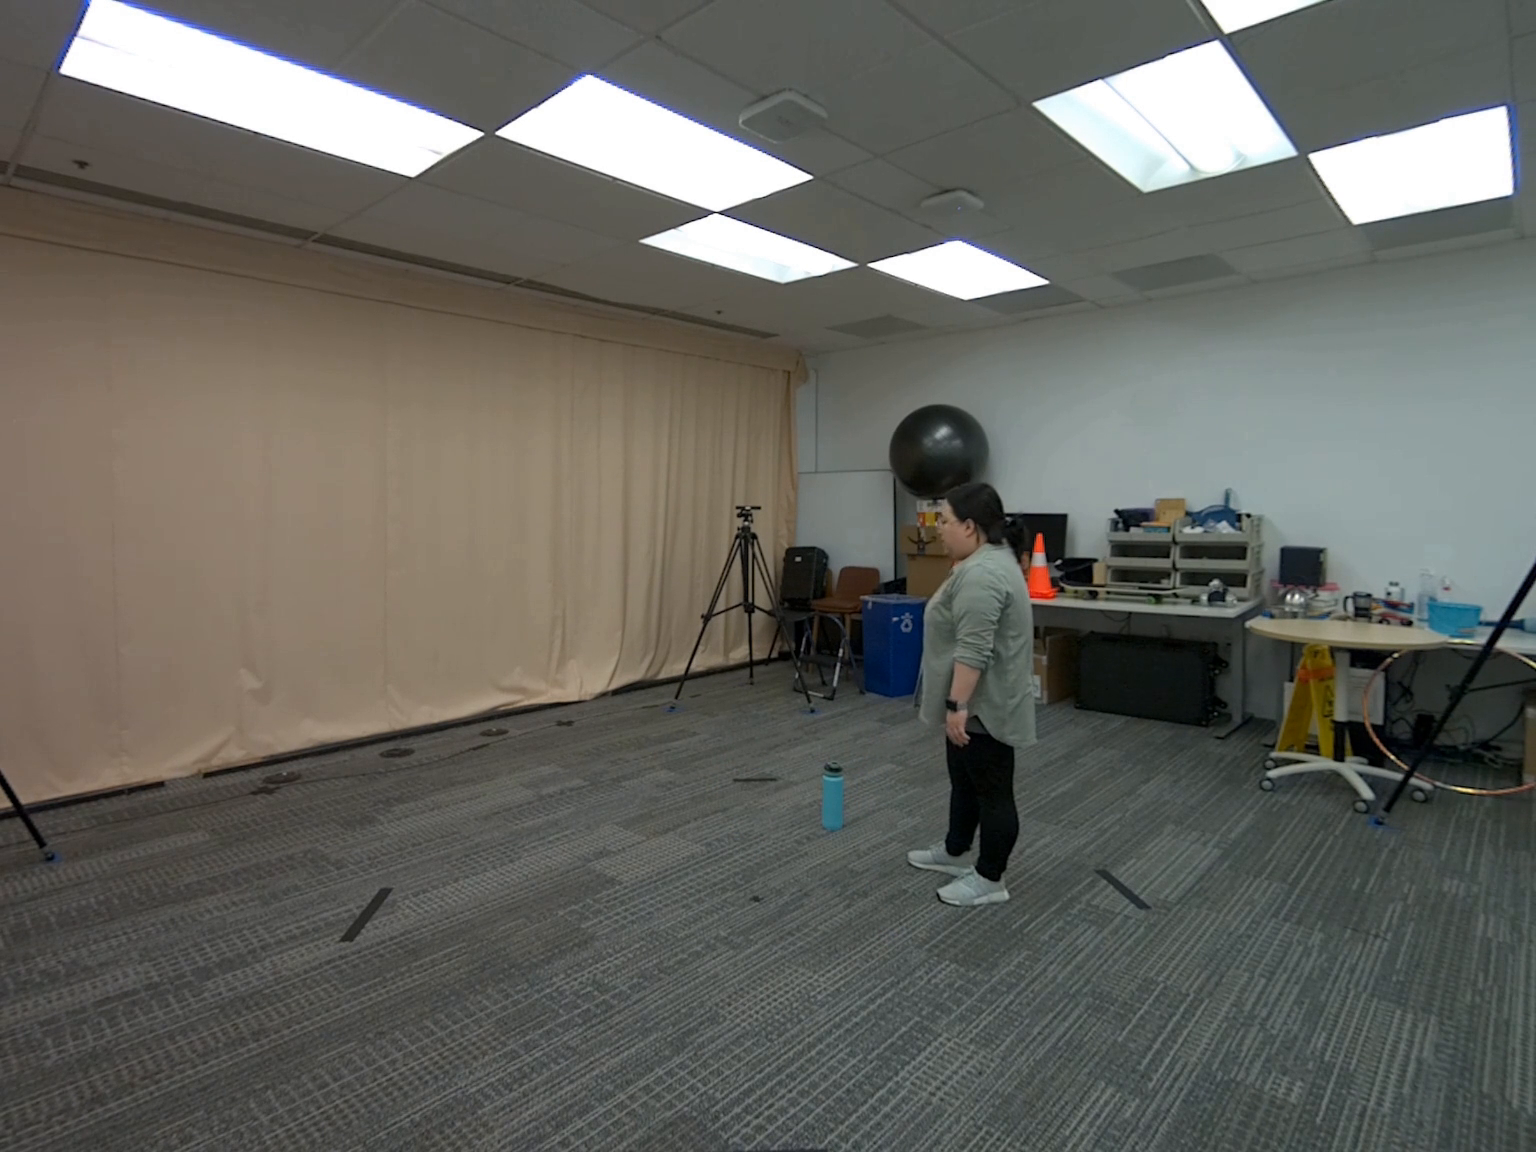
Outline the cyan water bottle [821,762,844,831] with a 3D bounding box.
[{"bbox_3d":[0.285,0.949,3.656,0.092,0.283,0.092,1,2,-2],"label":"cyan water bottle"}]
